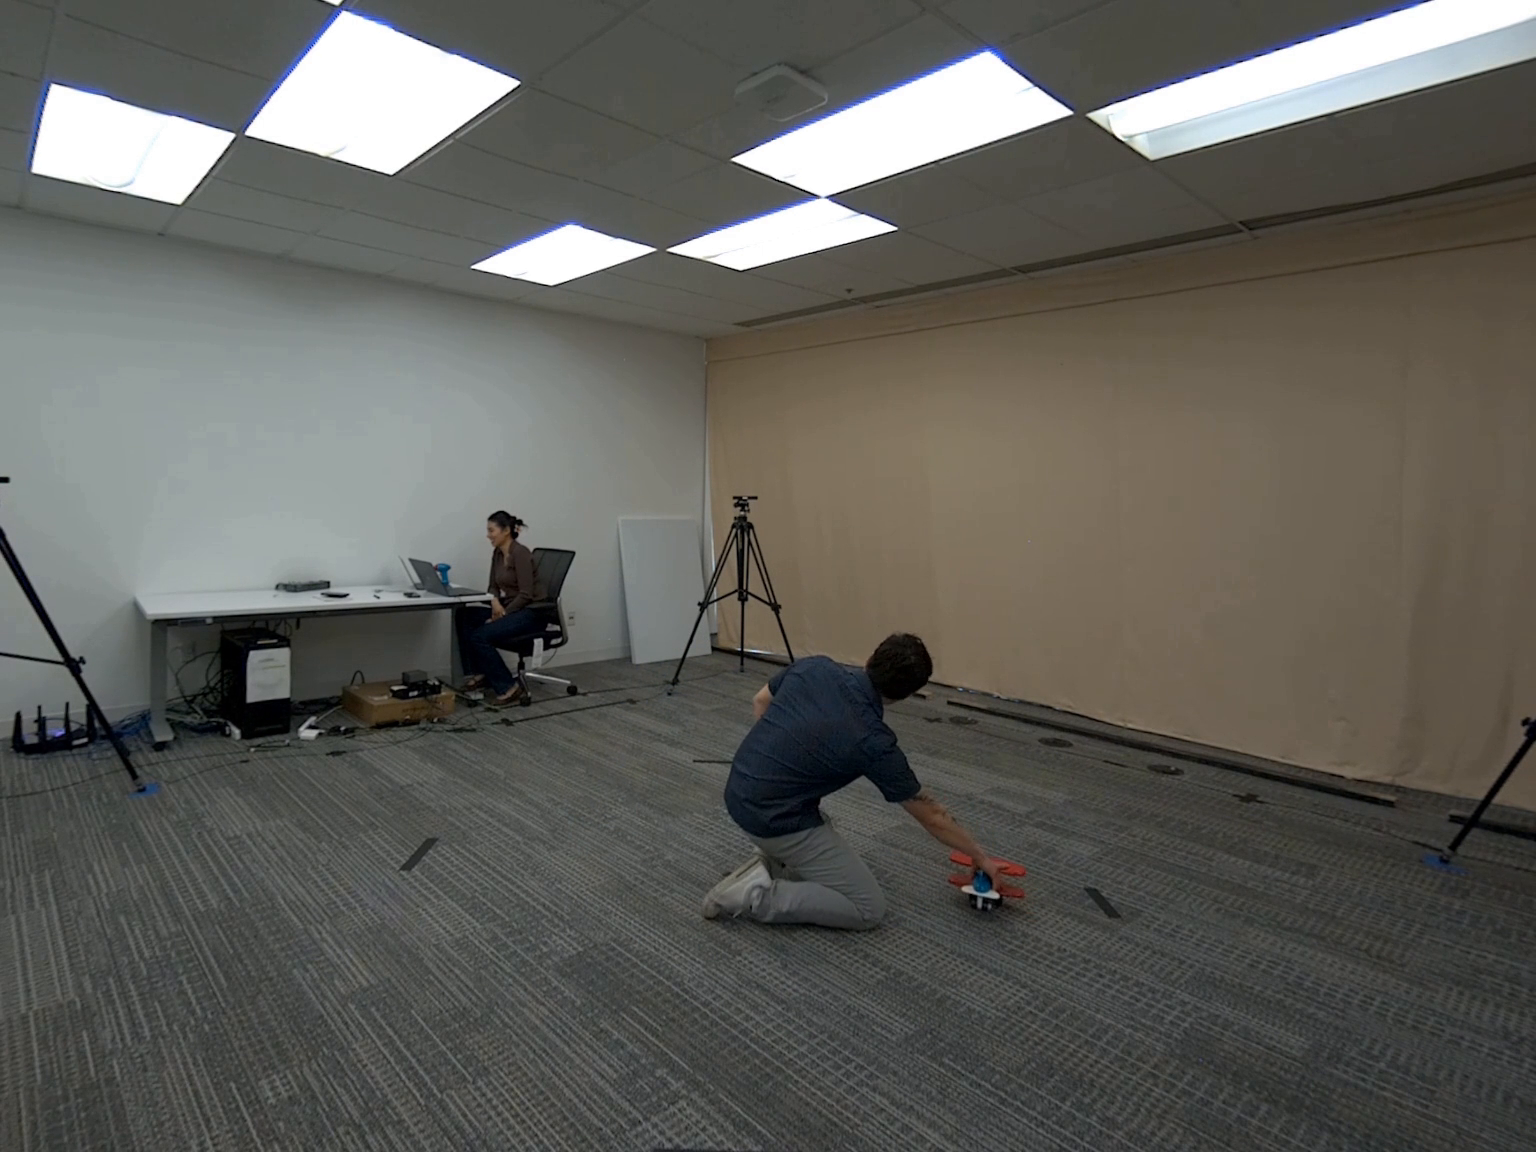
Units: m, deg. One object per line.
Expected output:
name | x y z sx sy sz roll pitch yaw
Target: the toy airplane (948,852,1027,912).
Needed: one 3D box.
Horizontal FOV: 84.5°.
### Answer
toy airplane | 0.751 1.054 2.867 0.250 0.157 0.258 10 -11 -5
